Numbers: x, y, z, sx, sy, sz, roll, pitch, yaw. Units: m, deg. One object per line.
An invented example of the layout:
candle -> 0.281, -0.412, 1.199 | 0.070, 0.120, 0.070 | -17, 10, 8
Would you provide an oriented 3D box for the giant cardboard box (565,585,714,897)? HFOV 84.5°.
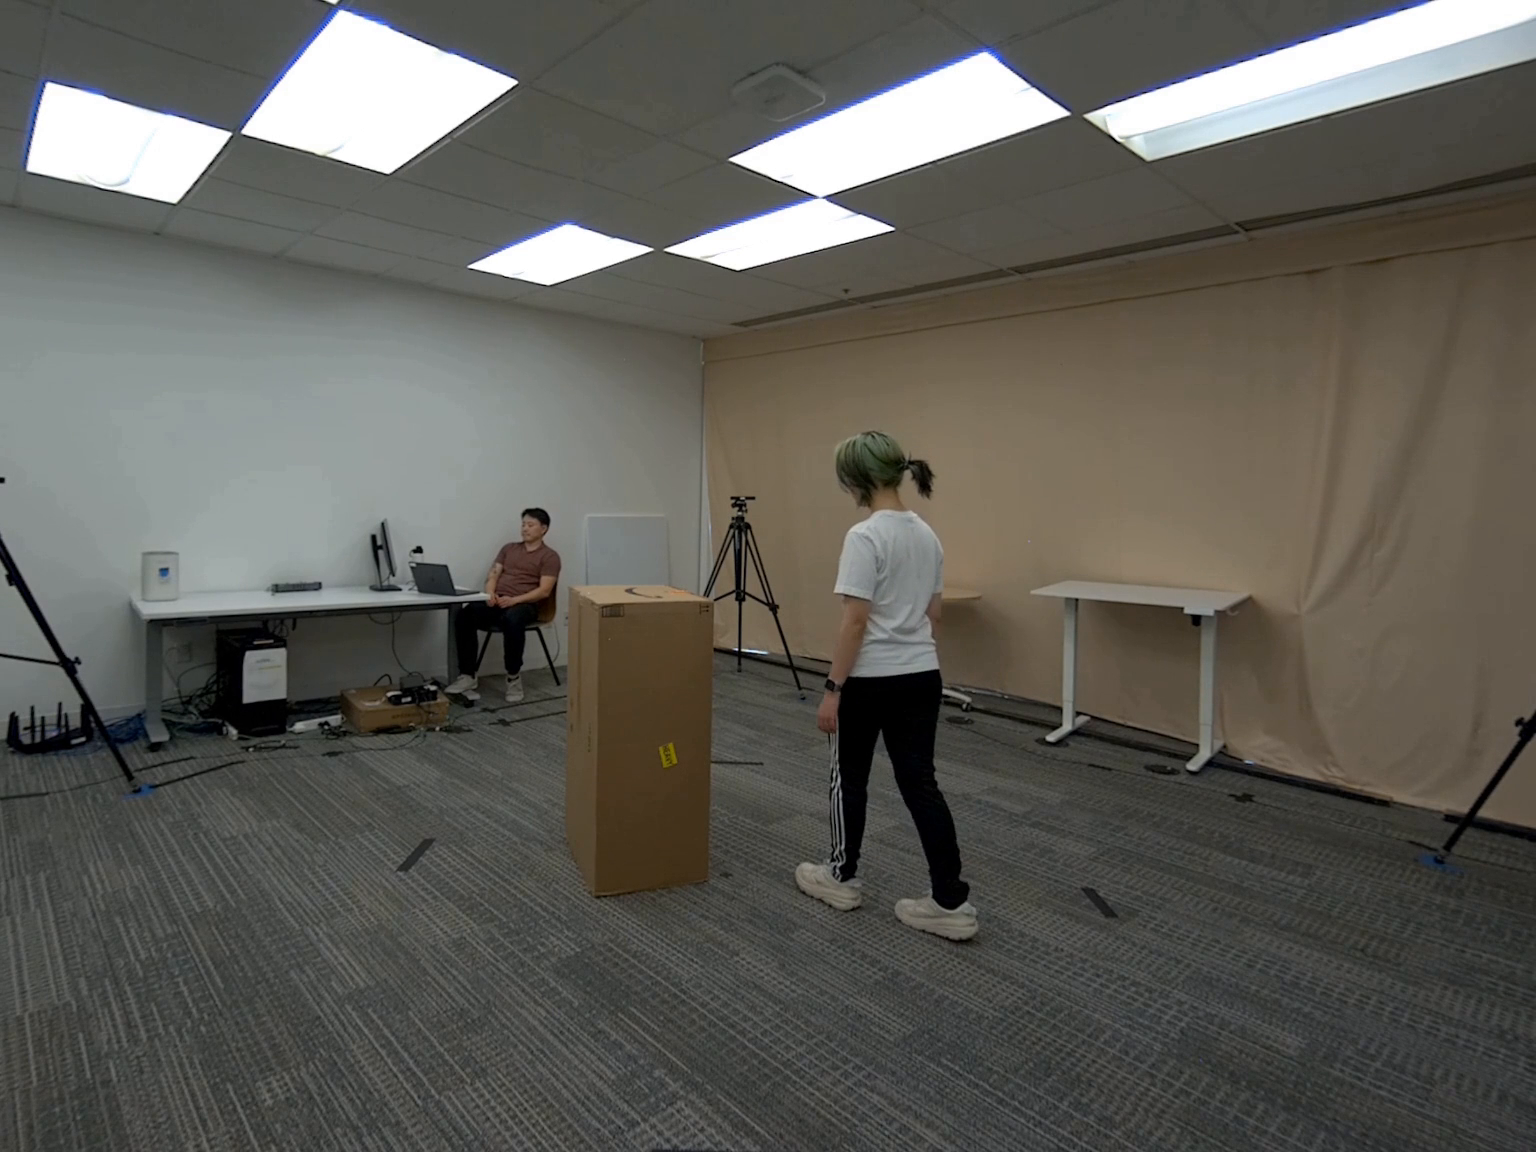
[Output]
giant cardboard box -> -0.517, 0.578, 3.222 | 0.439, 1.025, 0.595 | -1, 3, -24
